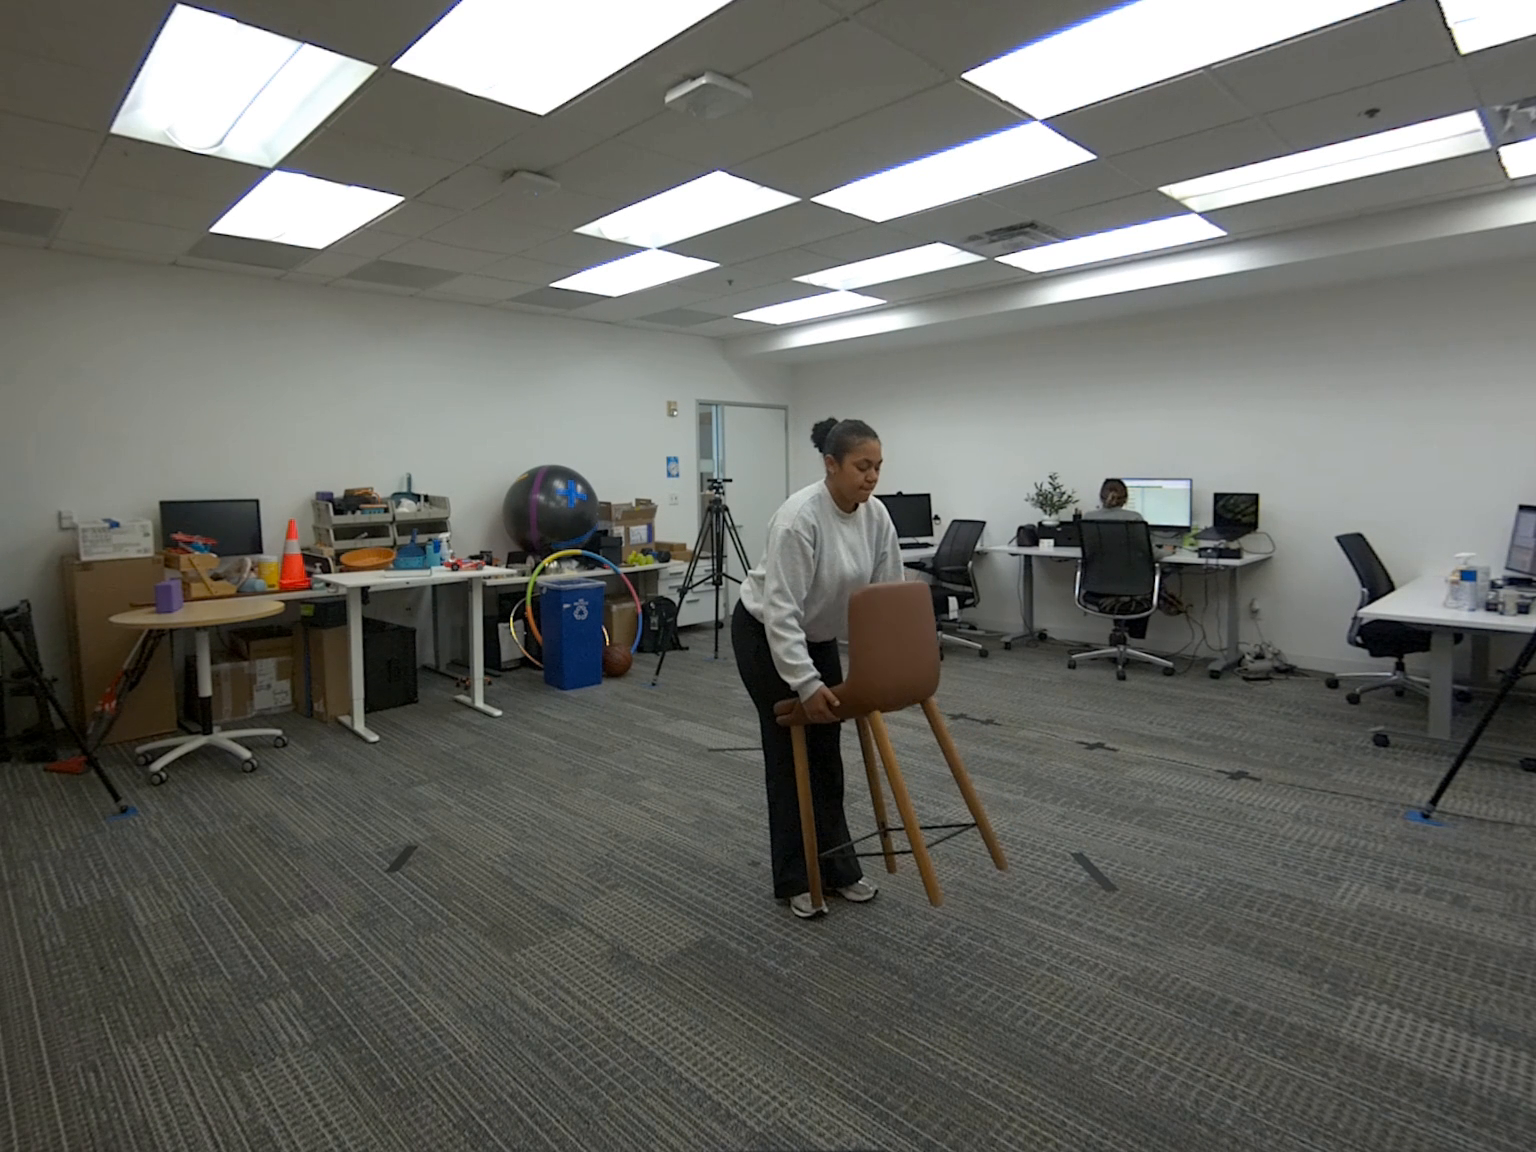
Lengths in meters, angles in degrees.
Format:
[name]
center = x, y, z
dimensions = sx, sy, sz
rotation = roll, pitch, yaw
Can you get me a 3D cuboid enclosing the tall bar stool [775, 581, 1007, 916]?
[tall bar stool]
center = 0.336, 0.508, 2.606
dimensions = 0.444, 0.900, 0.475
rotation = -3, -13, -44
